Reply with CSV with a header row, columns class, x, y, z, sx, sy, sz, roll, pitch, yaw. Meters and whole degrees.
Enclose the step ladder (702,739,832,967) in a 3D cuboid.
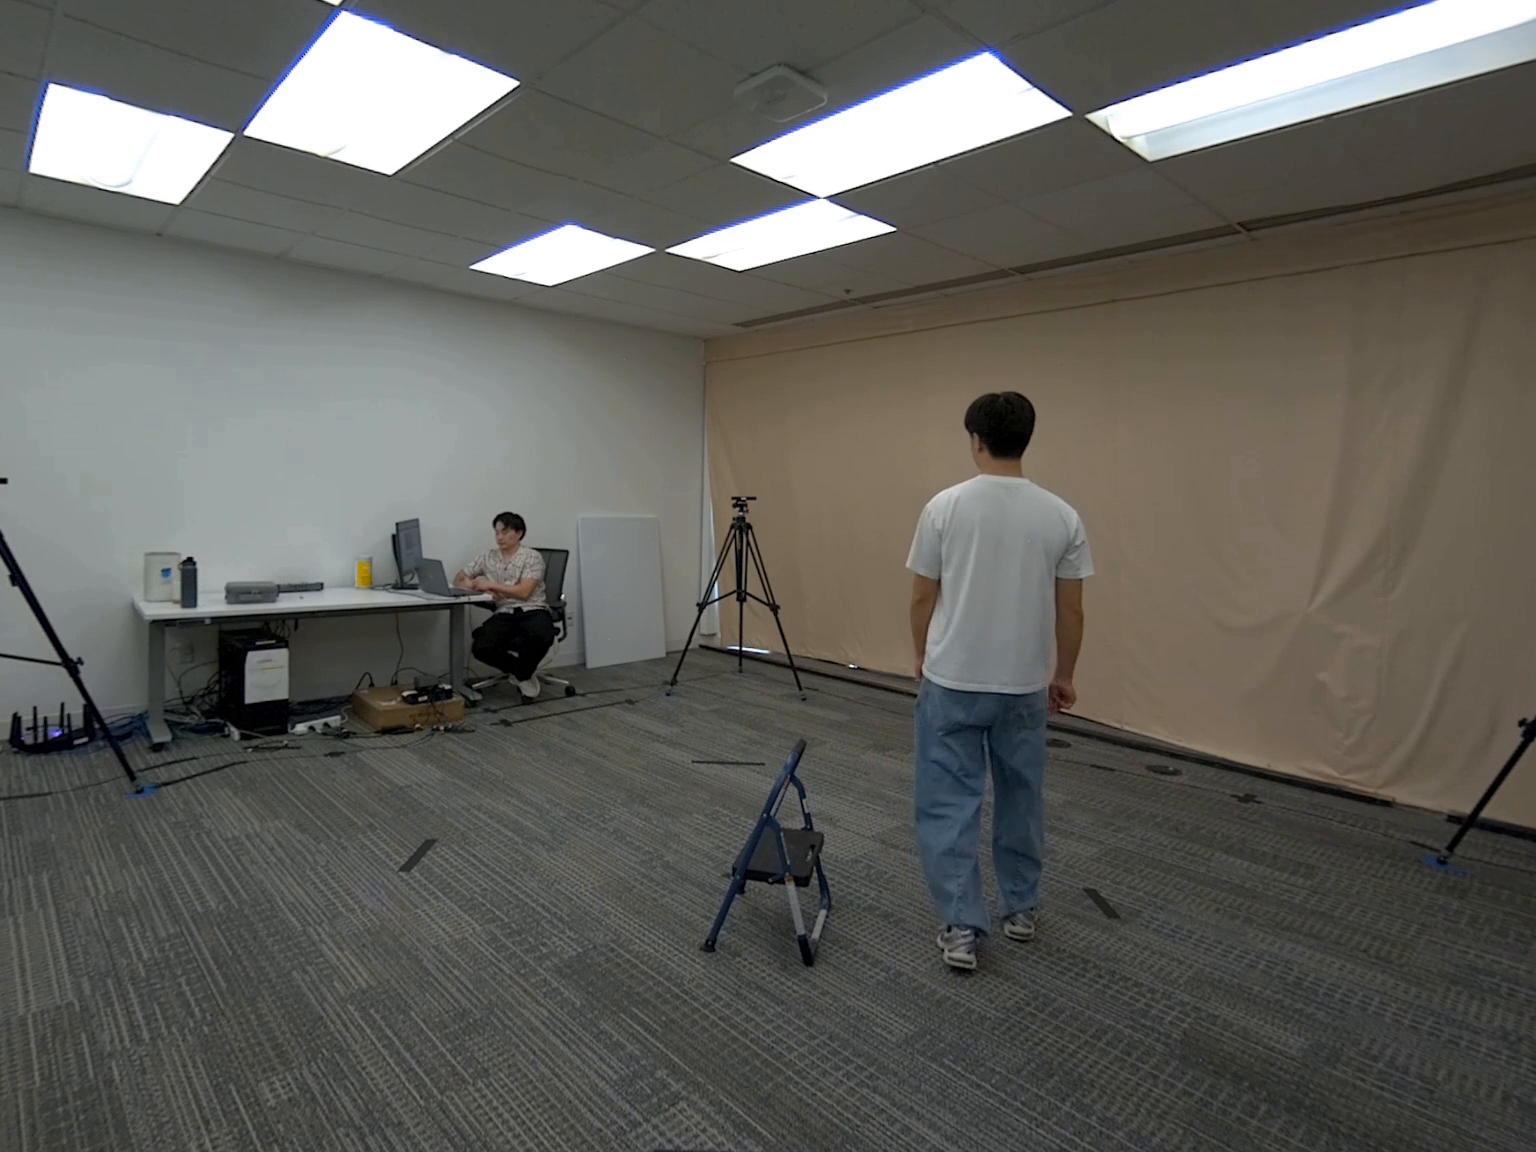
class,x,y,z,sx,sy,sz,roll,pitch,yaw
step ladder,0.015,0.840,2.722,0.353,0.604,0.427,3,4,13
